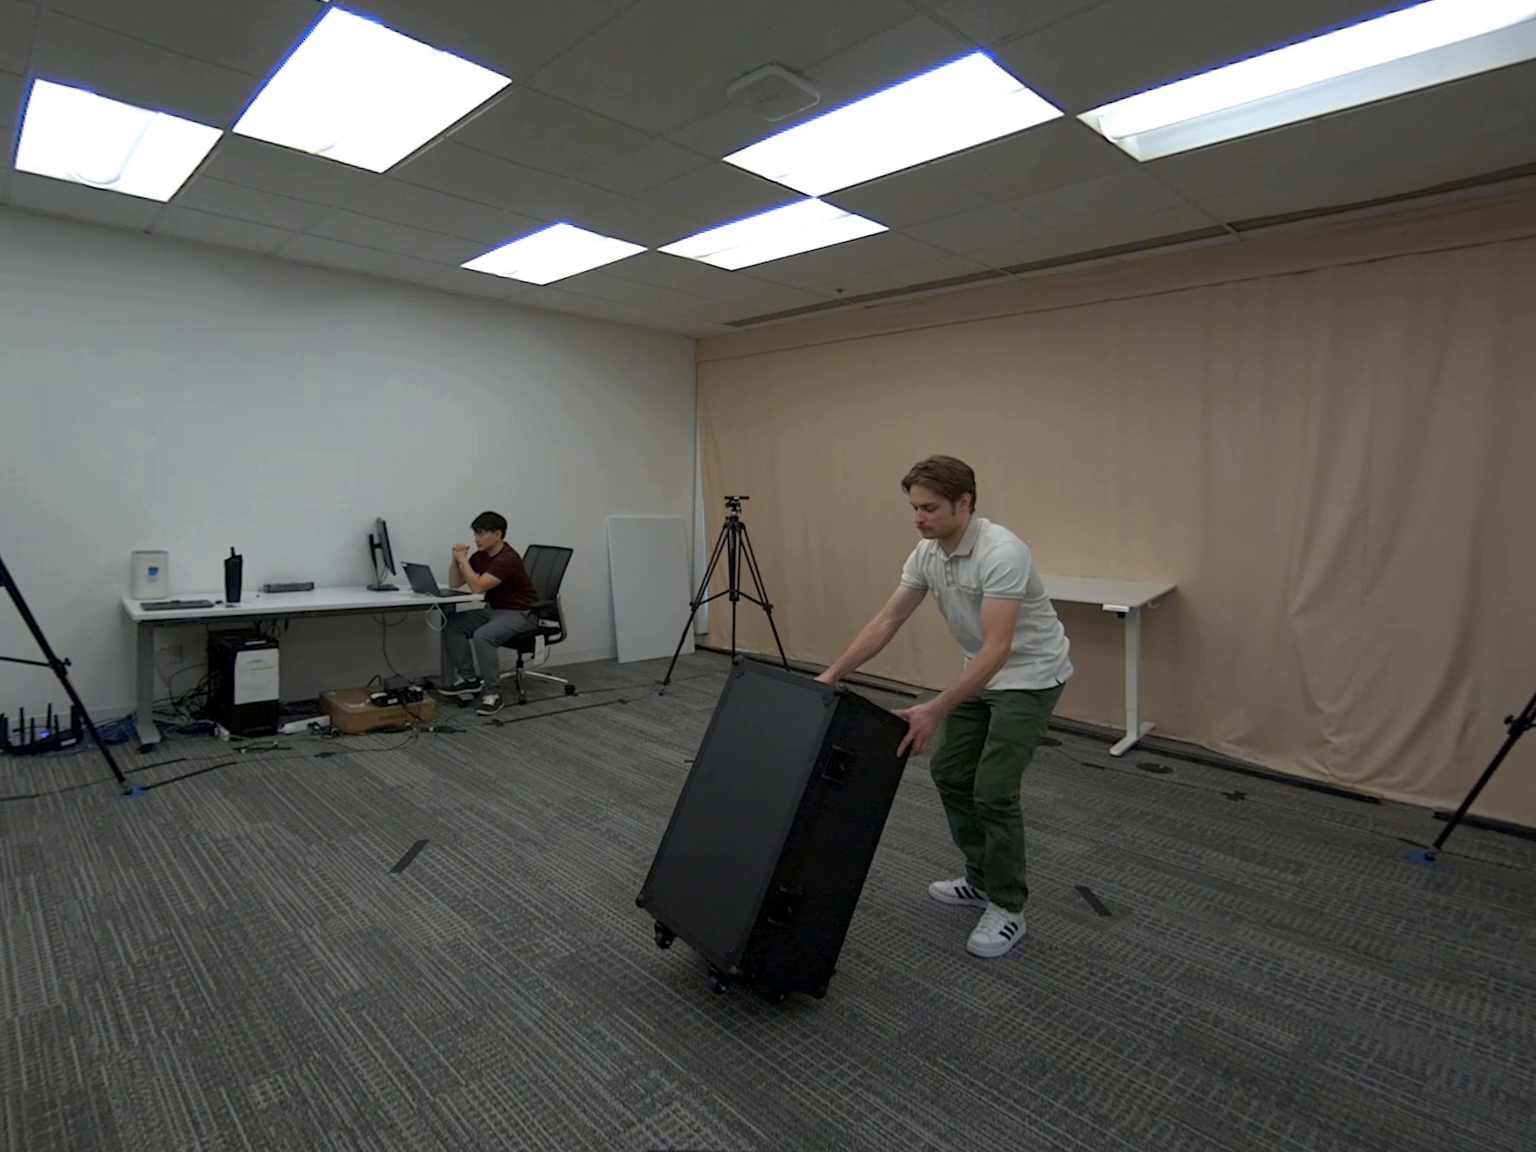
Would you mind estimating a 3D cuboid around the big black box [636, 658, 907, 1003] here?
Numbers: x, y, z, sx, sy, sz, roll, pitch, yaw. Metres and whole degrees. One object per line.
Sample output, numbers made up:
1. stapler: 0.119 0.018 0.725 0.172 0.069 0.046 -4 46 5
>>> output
1. big black box: 0.012 0.738 2.458 0.384 0.865 0.534 32 -15 -36
